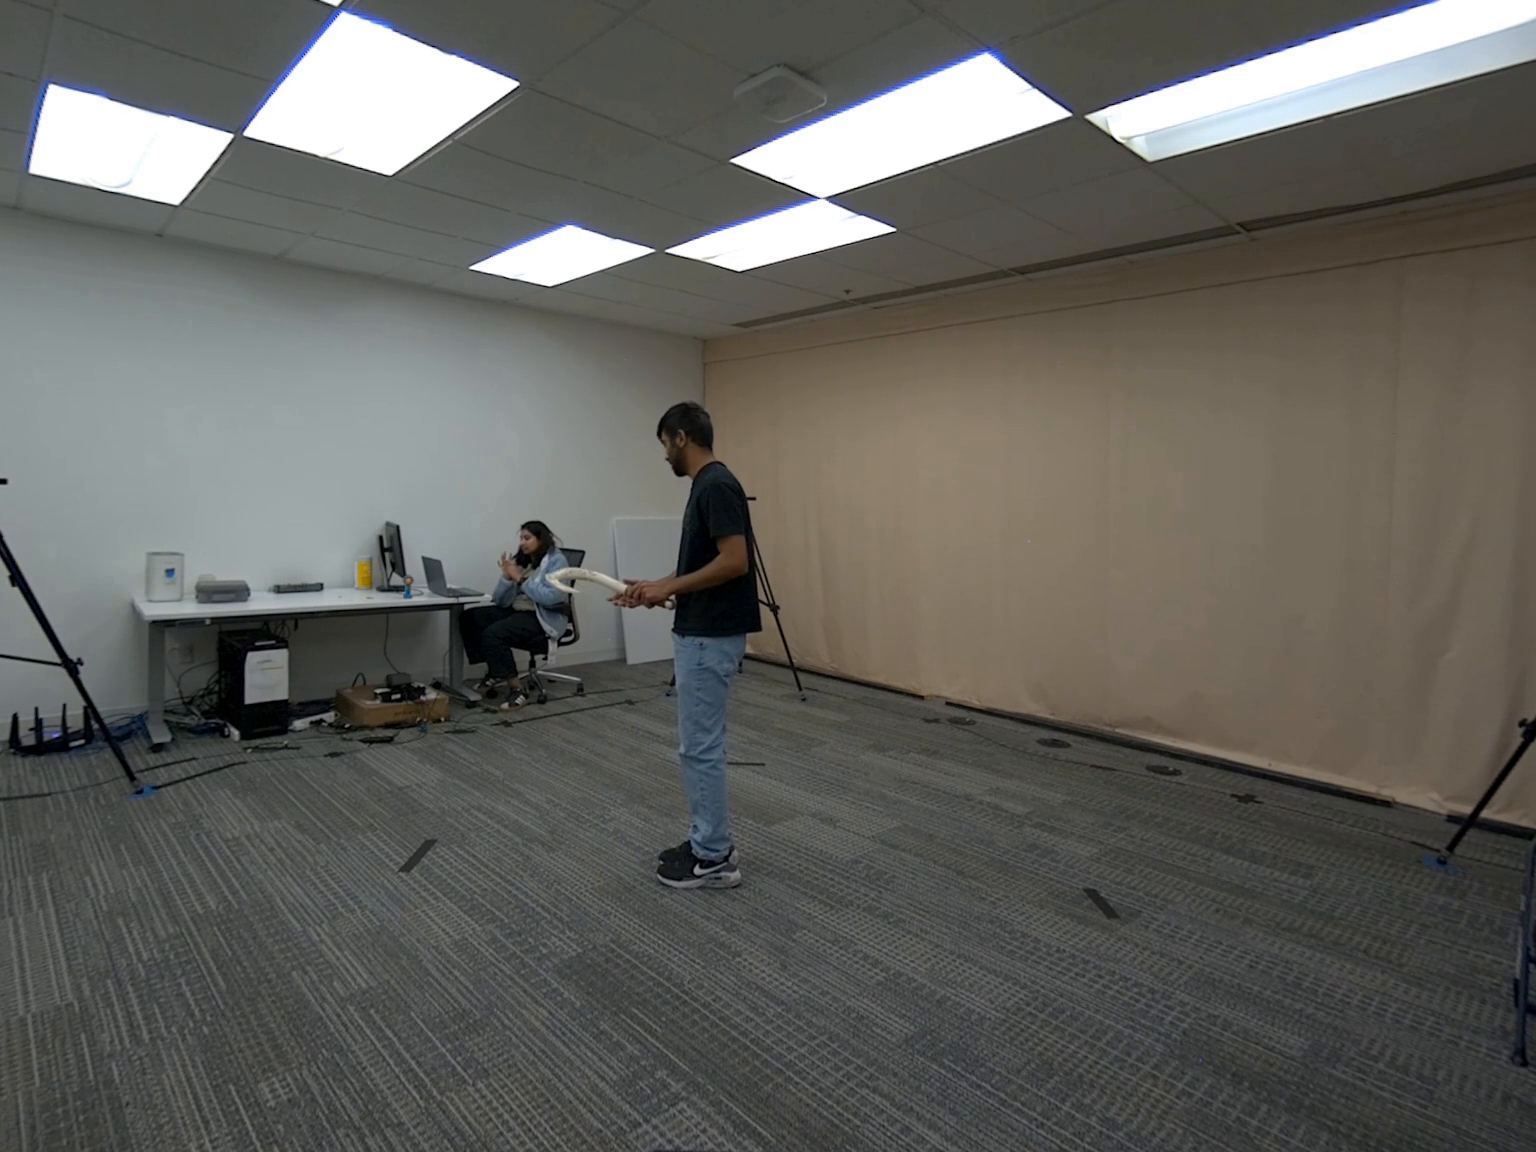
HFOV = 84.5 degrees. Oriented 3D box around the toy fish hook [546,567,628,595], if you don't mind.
[{"bbox_3d":[-0.555,0.061,2.986,0.515,0.048,0.224,12,21,18],"label":"toy fish hook"}]
